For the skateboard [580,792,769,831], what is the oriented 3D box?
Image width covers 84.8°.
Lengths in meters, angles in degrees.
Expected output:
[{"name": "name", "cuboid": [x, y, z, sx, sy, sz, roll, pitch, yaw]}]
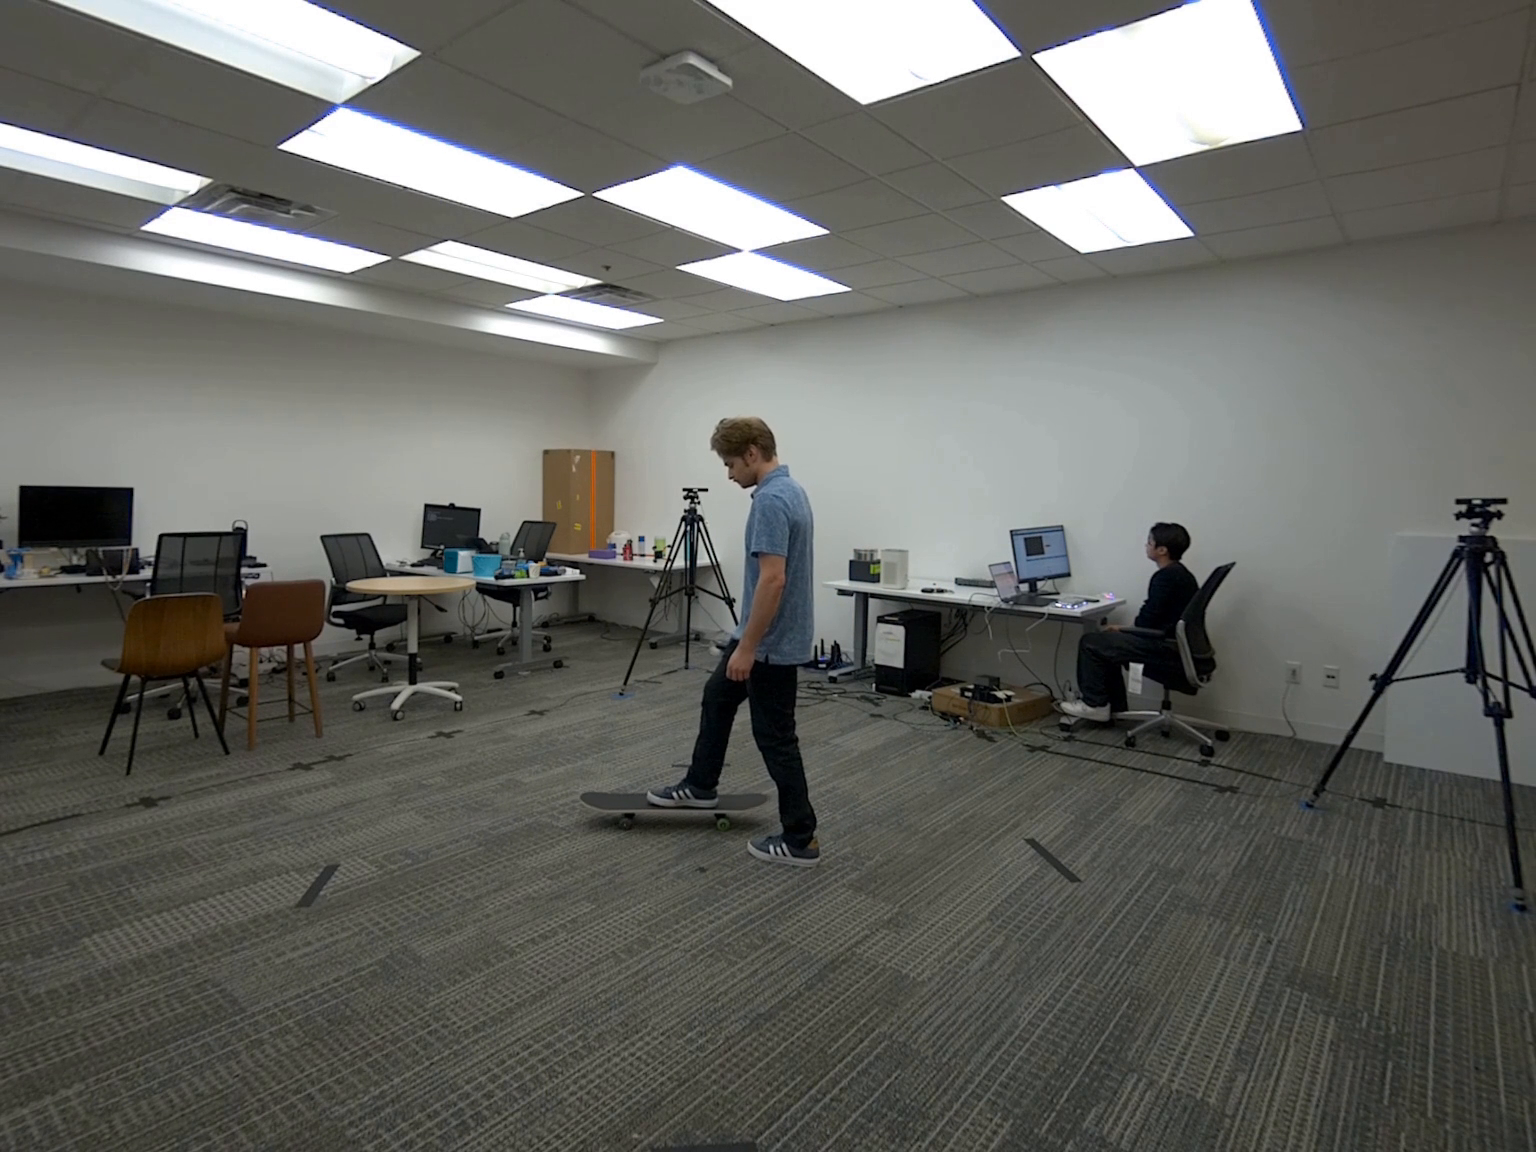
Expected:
[{"name": "skateboard", "cuboid": [-0.393, 0.968, 3.539, 0.784, 0.110, 0.195, 0, 7, -2]}]
